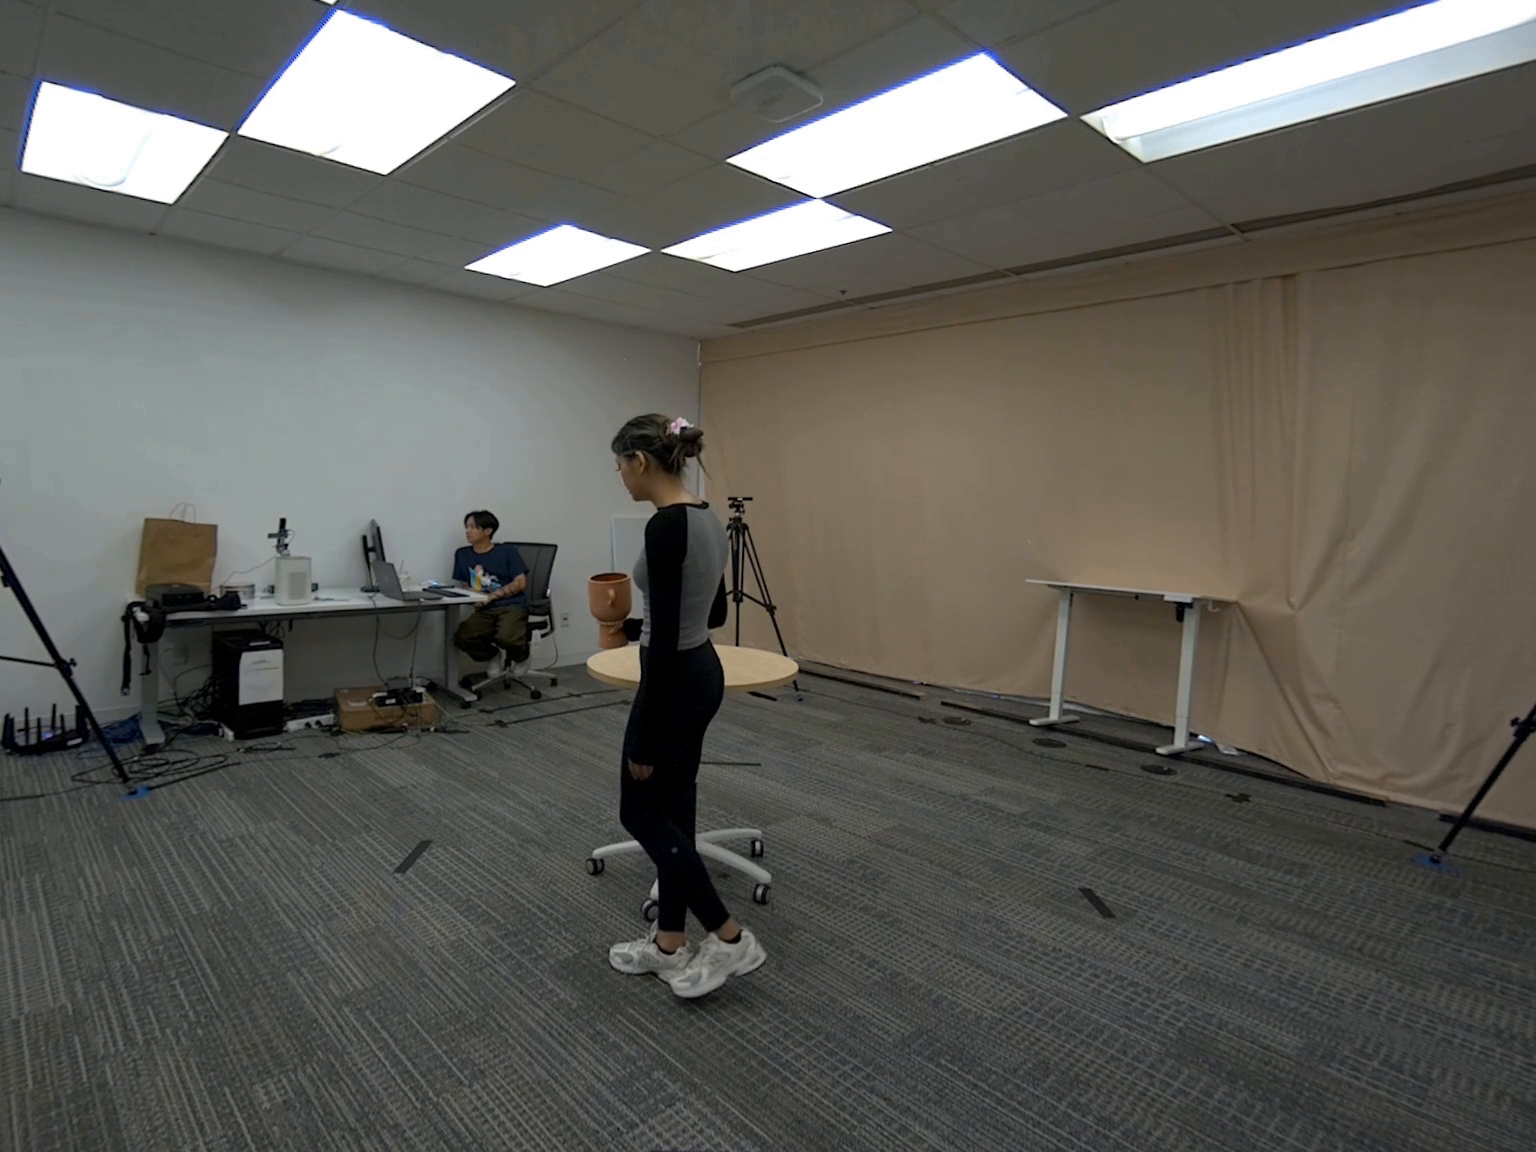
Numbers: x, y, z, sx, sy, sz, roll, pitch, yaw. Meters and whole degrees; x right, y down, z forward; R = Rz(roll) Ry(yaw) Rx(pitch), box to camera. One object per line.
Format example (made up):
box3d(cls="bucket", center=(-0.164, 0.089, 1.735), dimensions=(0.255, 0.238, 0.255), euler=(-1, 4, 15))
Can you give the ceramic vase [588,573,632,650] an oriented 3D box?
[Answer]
box3d(cls="ceramic vase", center=(-0.490, 0.113, 2.637), dimensions=(0.137, 0.218, 0.157), euler=(3, 12, 25))
